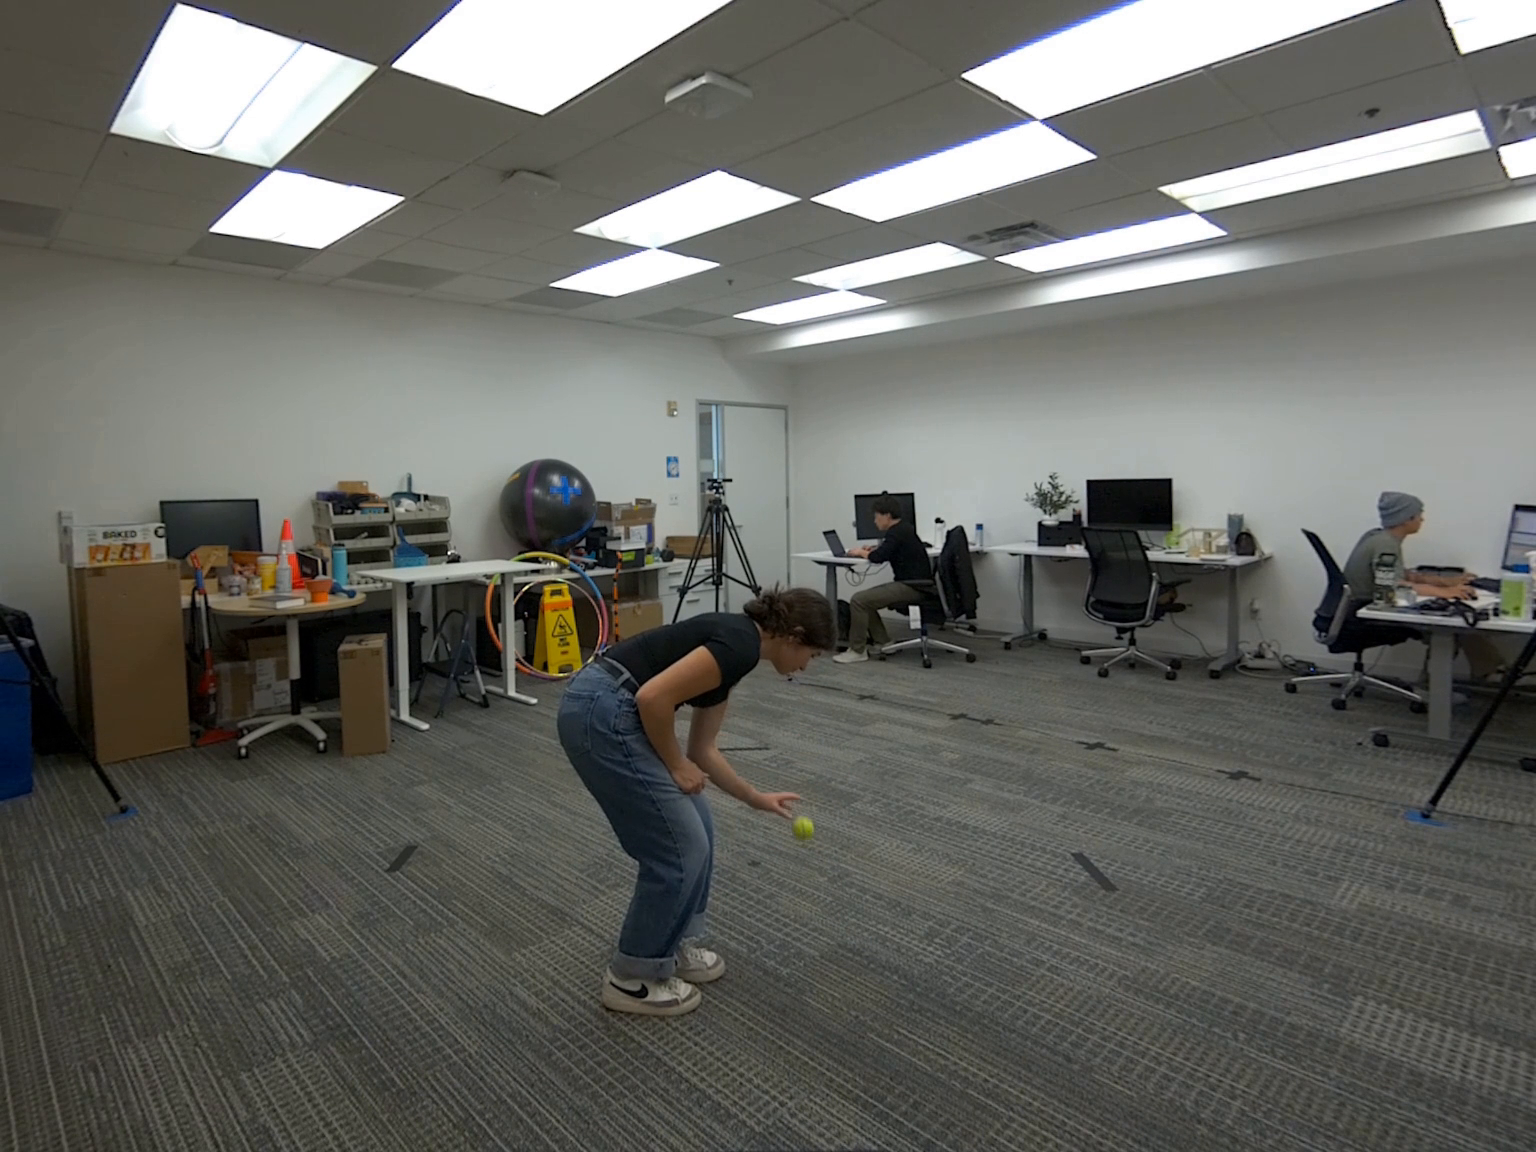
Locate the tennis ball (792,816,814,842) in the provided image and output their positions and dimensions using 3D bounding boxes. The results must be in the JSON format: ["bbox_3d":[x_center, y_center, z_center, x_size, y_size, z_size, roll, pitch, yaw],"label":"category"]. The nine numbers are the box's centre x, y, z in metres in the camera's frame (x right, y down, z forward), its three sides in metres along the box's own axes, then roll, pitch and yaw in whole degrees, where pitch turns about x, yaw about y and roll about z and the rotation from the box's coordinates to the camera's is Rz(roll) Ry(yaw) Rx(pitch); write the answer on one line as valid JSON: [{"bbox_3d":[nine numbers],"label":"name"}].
[{"bbox_3d":[0.105,0.741,2.534,0.066,0.066,0.067,-1,5,-2],"label":"tennis ball"}]
